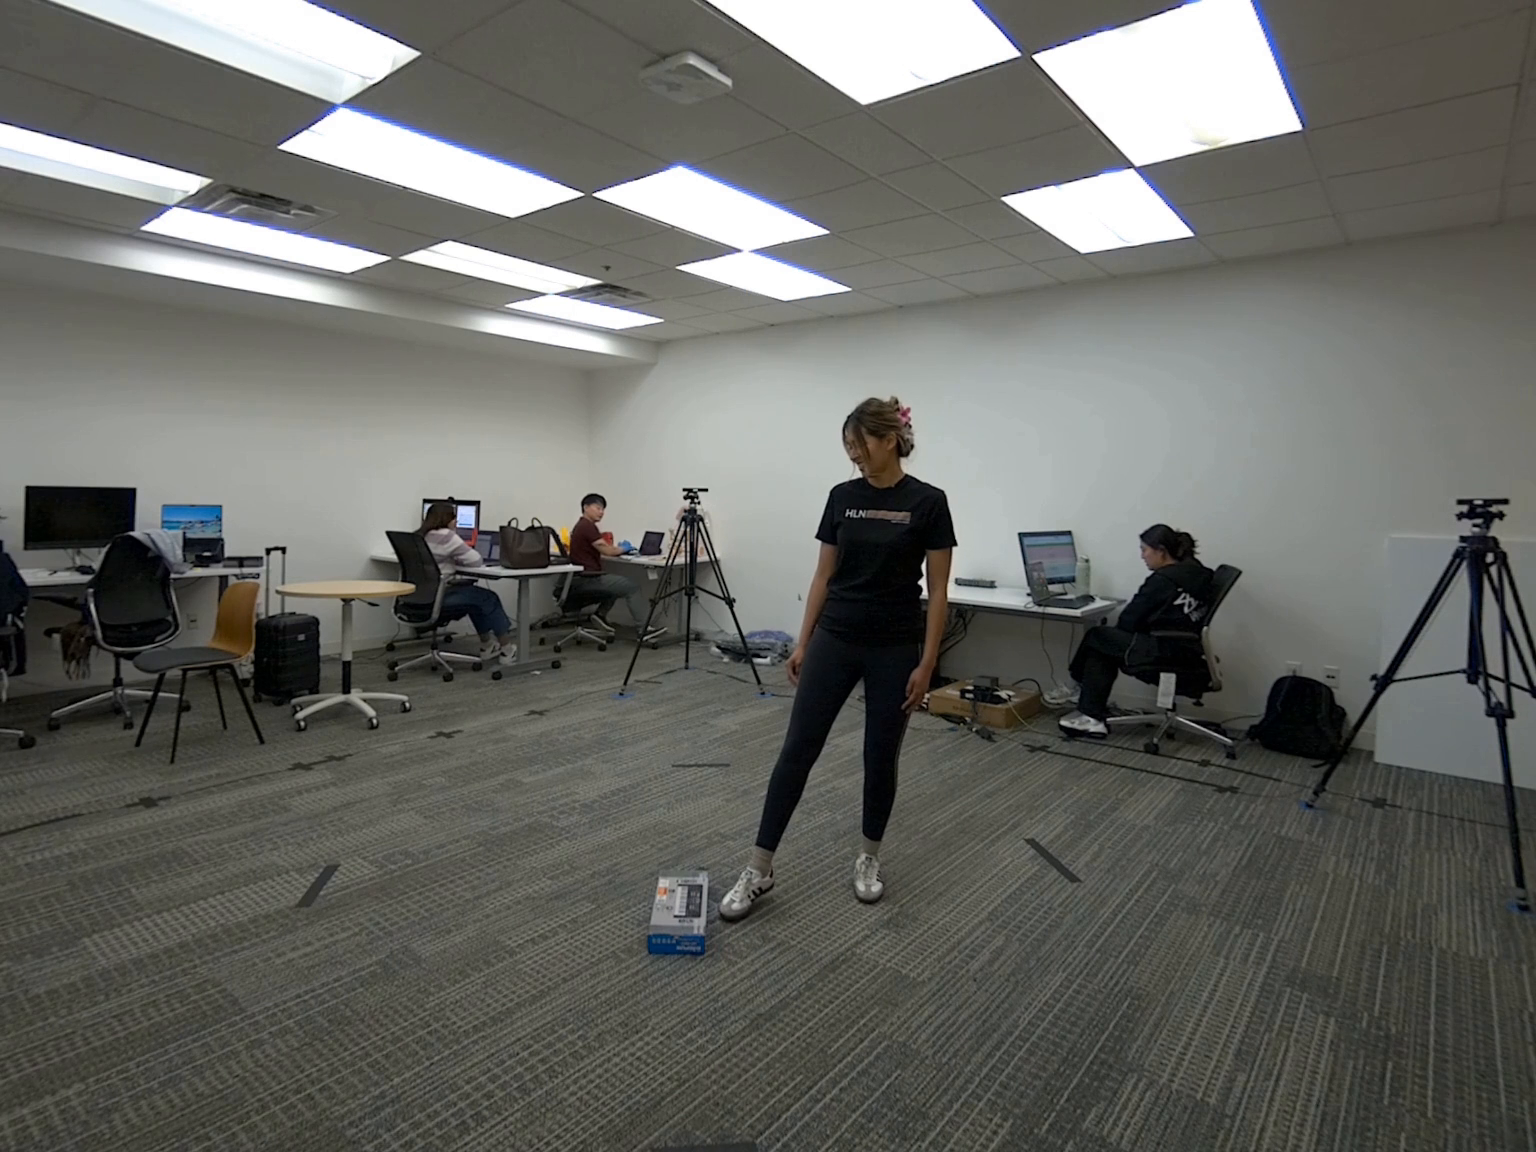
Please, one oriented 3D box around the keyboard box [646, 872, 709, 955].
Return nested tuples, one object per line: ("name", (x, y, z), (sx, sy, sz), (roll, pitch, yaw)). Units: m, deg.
("keyboard box", (-0.290, 1.075, 2.747), (0.176, 0.059, 0.439), (0, 6, -2))
